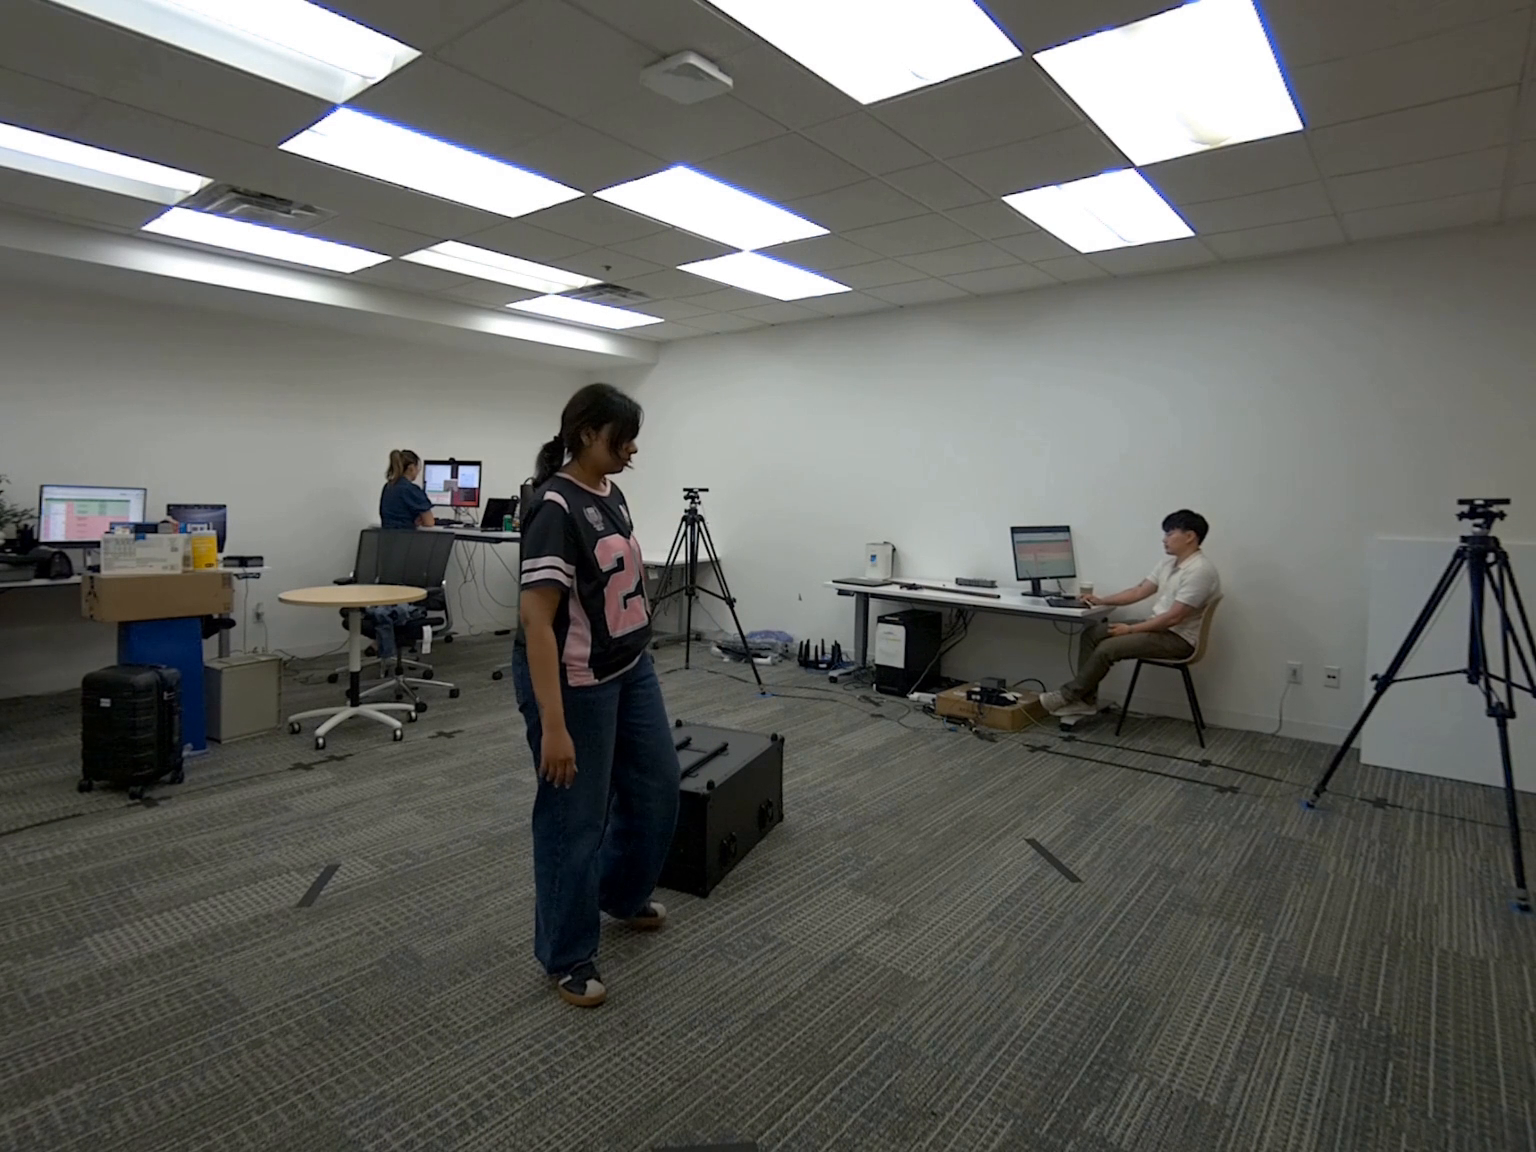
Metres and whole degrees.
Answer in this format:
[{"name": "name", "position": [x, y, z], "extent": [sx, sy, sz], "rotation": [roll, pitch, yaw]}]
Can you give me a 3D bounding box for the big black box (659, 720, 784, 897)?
[{"name": "big black box", "position": [-0.298, 0.857, 3.362], "extent": [0.535, 0.384, 0.852], "rotation": [1, 5, 21]}]
